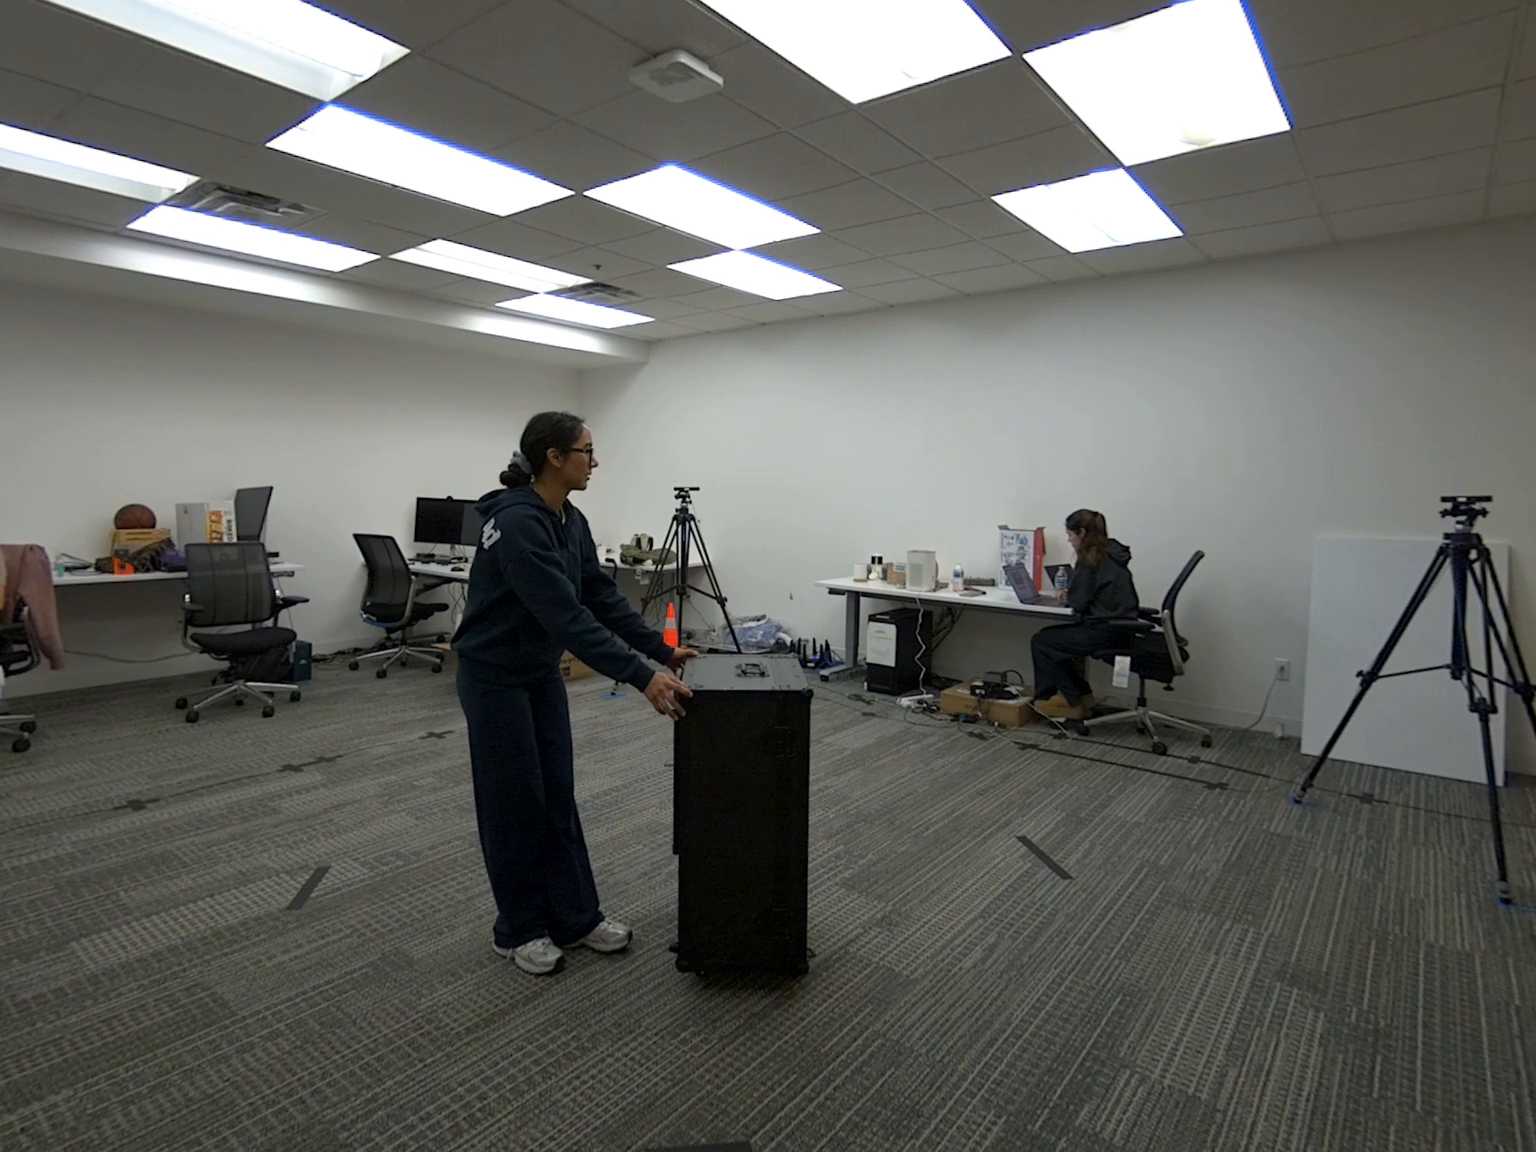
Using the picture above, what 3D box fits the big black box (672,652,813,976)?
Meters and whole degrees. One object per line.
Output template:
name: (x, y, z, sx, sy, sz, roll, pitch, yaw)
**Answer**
big black box: (-0.099, 0.703, 2.526, 0.396, 0.858, 0.523, 0, 4, -1)
